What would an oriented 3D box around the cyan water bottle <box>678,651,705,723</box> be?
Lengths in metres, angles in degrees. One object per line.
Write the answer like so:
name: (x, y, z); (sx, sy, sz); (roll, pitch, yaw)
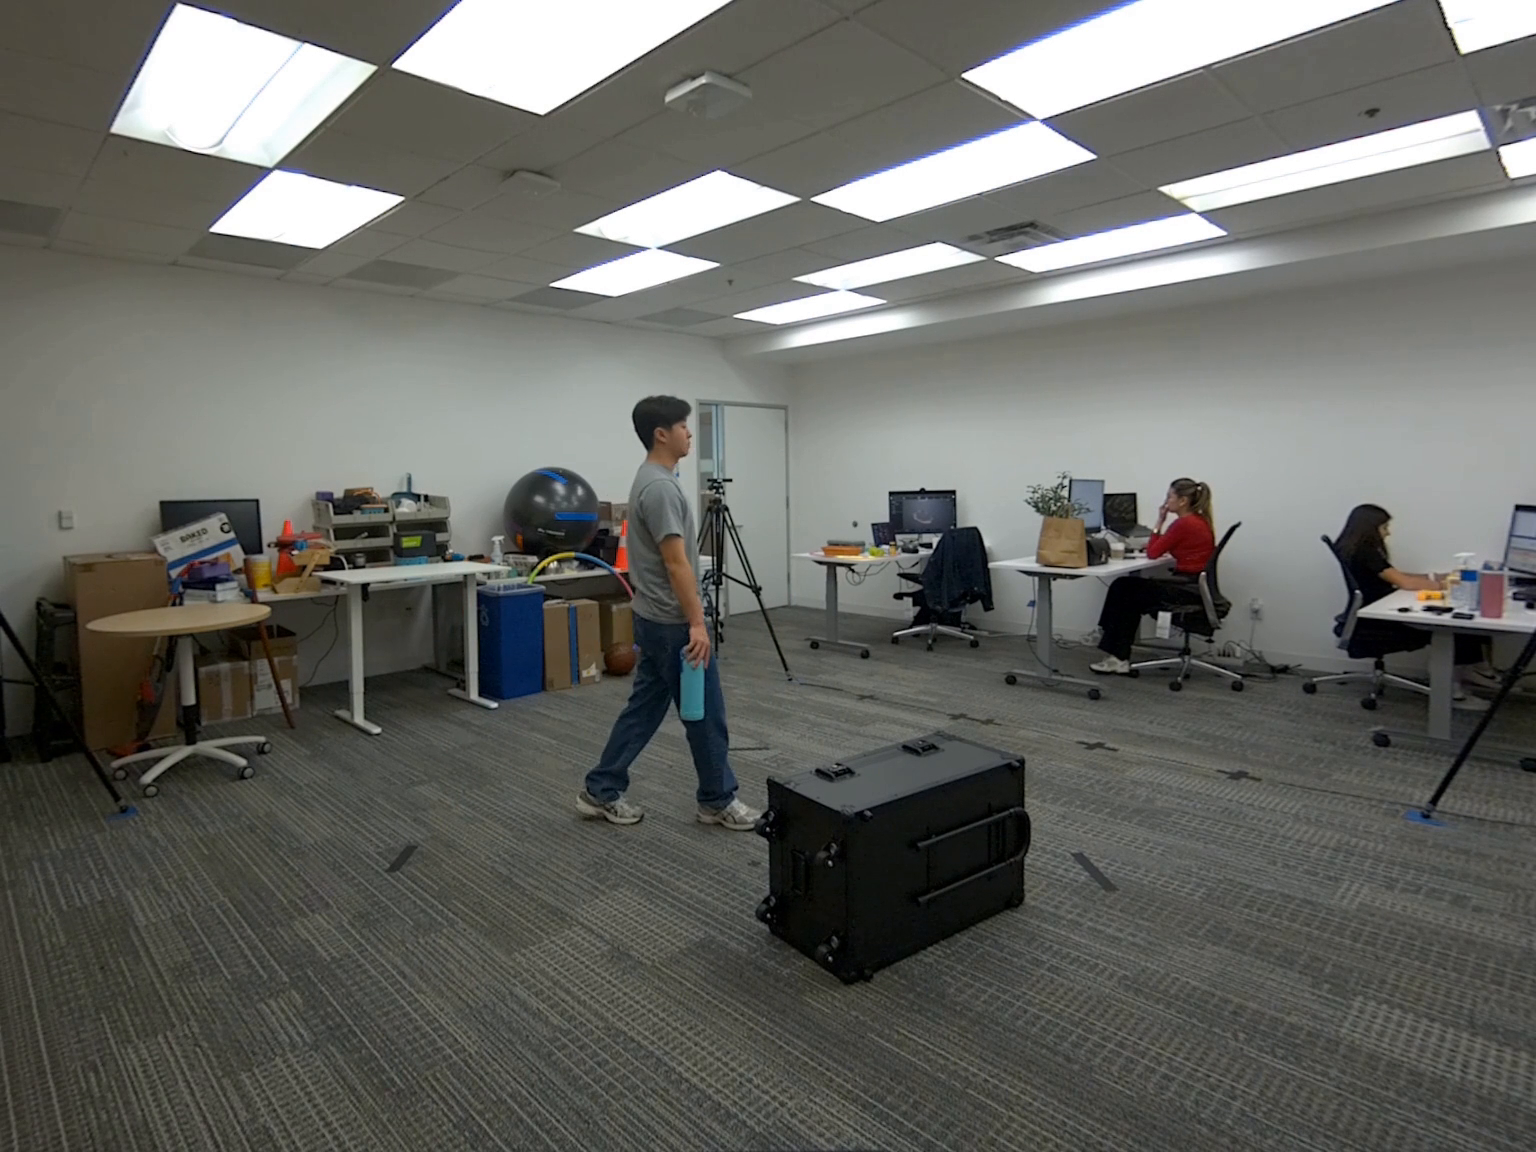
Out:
cyan water bottle: (-0.297, 0.398, 3.245); (0.092, 0.283, 0.092); (0, 2, -2)
